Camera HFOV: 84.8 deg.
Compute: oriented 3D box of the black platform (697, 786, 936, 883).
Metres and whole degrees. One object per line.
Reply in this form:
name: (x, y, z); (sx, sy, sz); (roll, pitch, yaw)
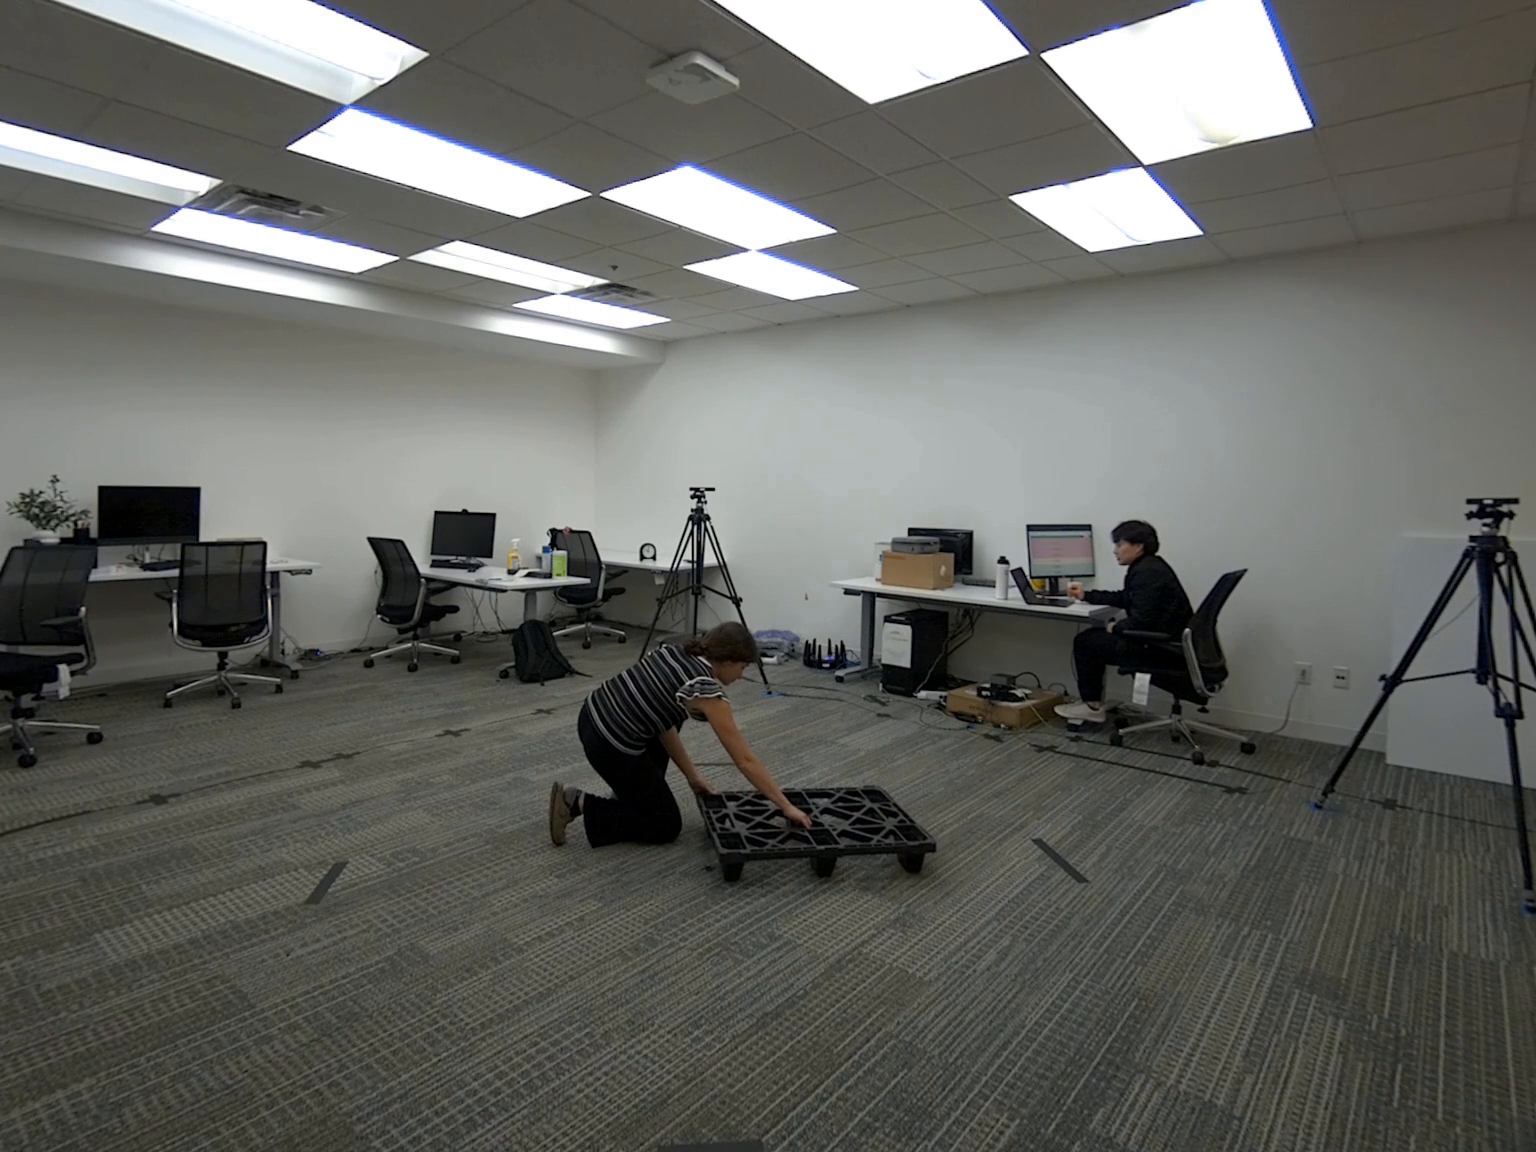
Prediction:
black platform: (0.150, 0.986, 3.287); (0.797, 0.142, 0.615); (0, 7, -11)
